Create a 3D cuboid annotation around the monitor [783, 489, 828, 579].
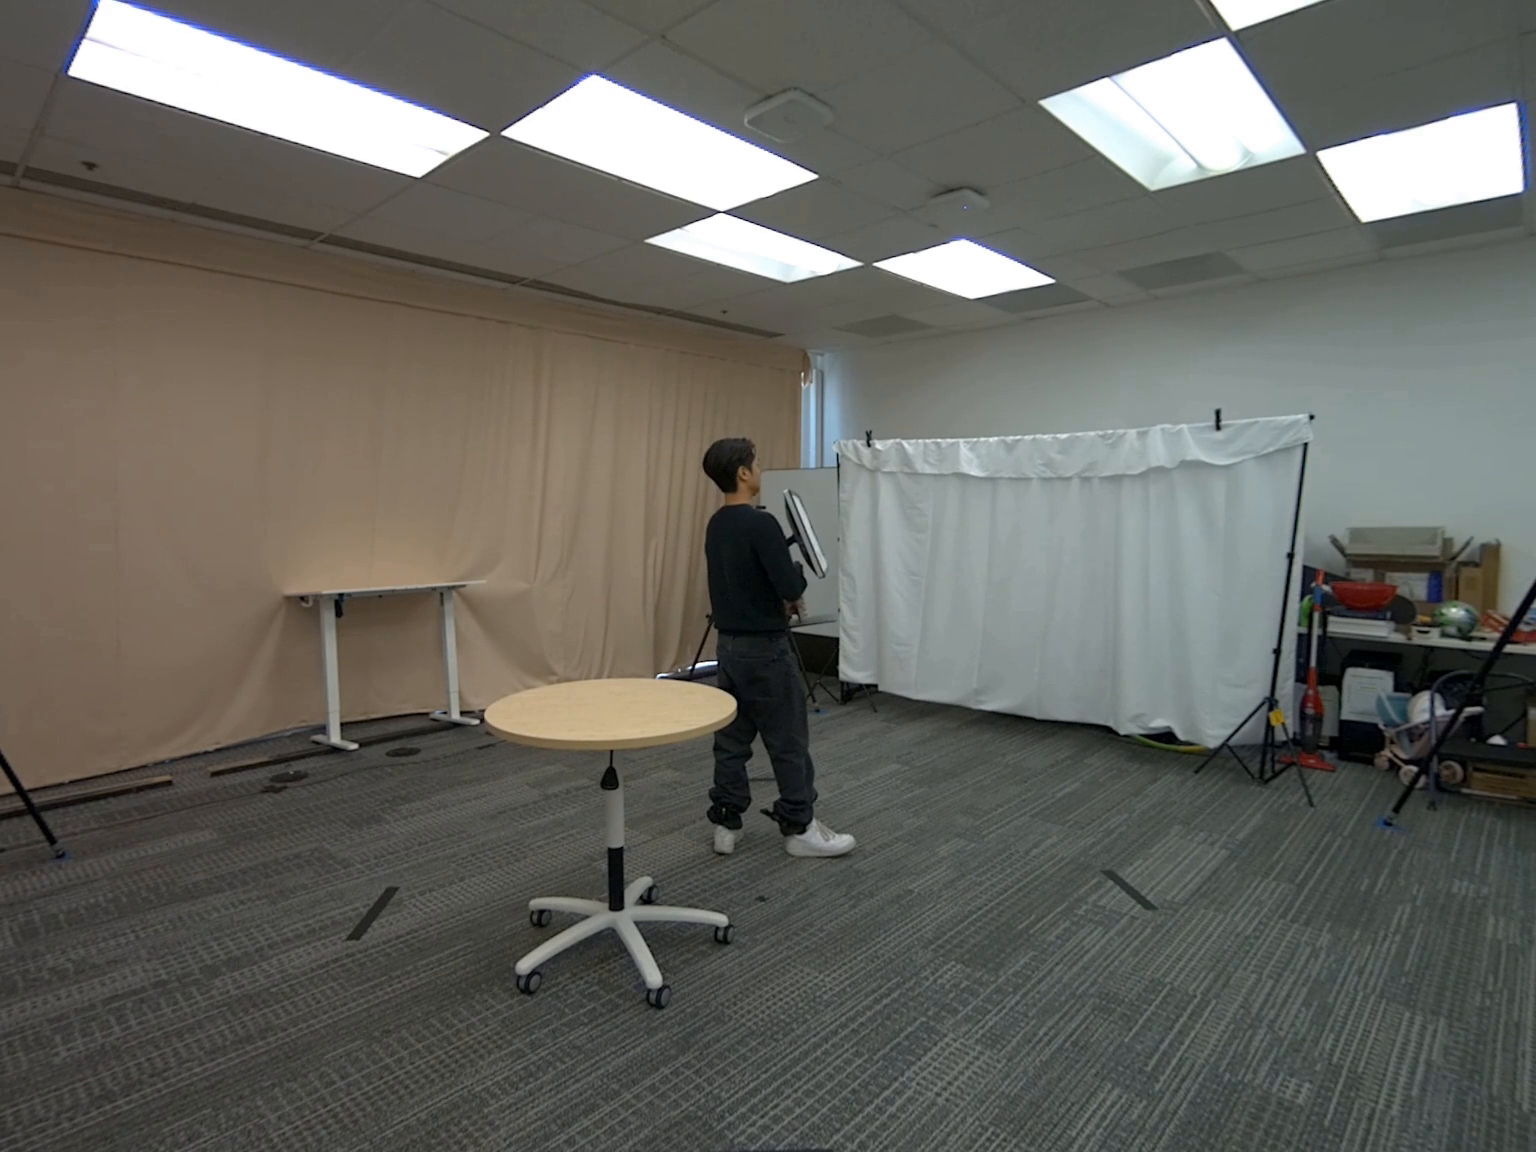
[{"bbox_3d":[0.158,-0.081,3.478,0.176,0.516,0.526,-4,1,5],"label":"monitor"}]
